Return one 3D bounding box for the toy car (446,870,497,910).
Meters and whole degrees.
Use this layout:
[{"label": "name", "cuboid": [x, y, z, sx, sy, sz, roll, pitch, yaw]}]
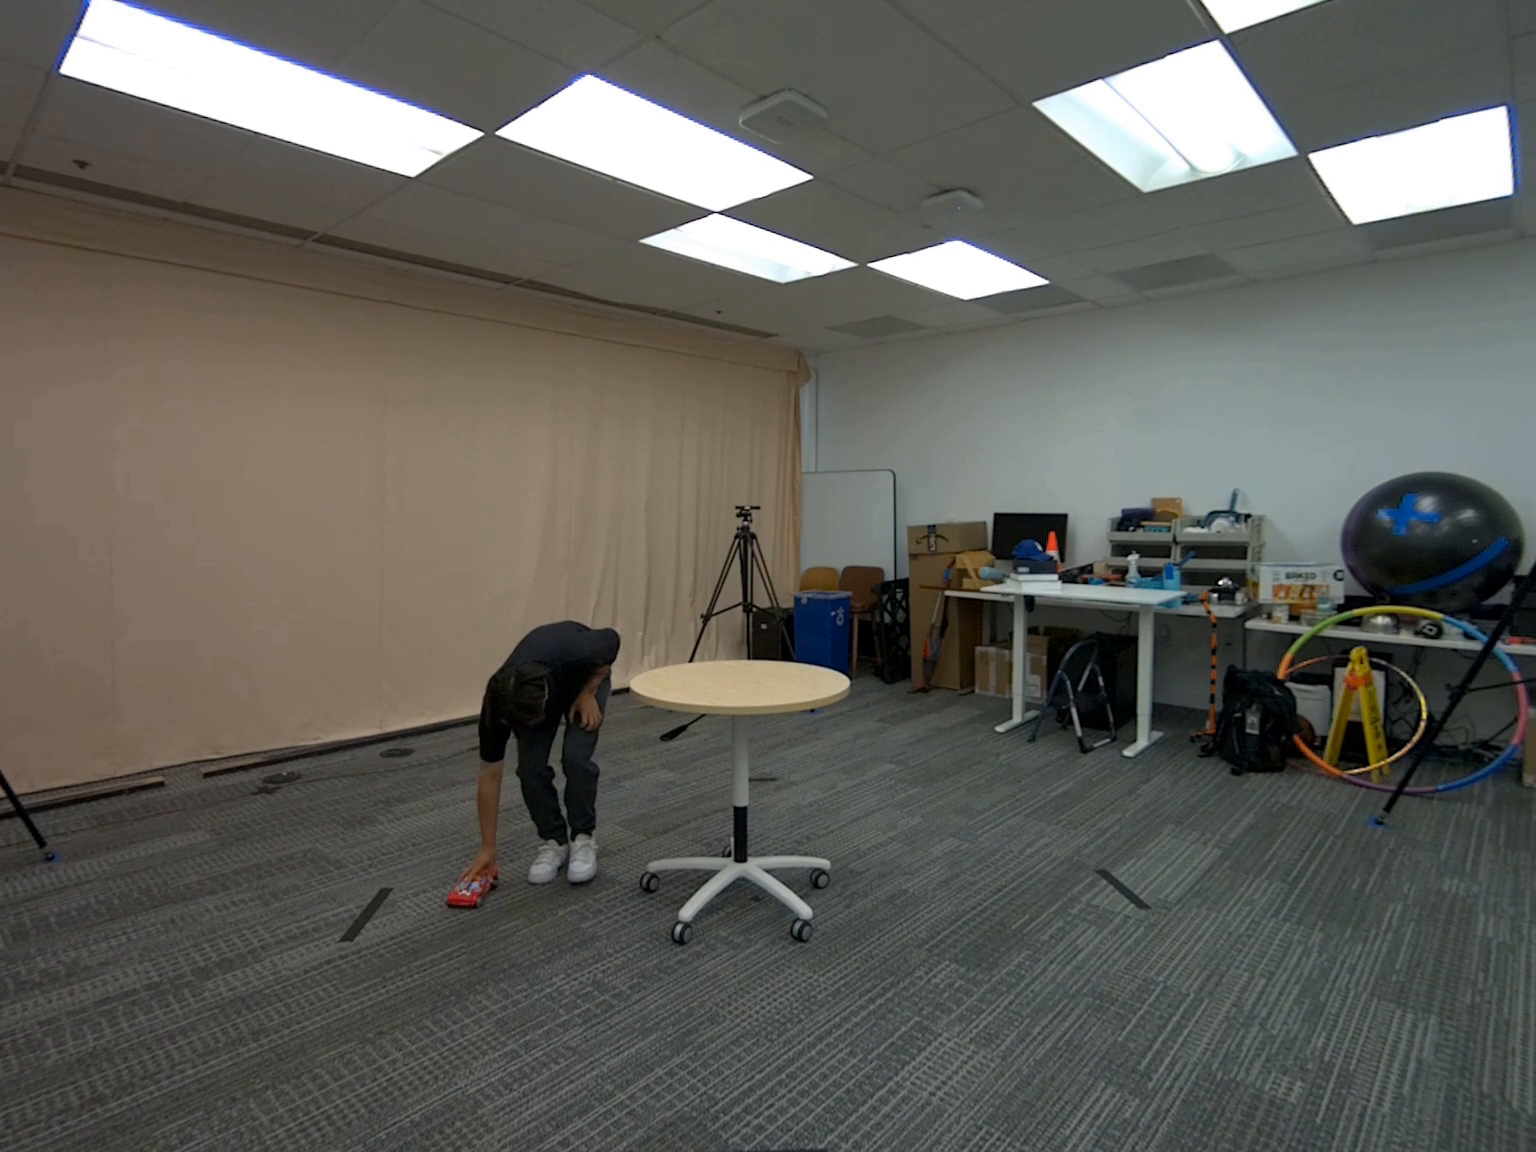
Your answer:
[{"label": "toy car", "cuboid": [-1.057, 1.120, 3.036, 0.131, 0.082, 0.255, -2, 15, 5]}]
